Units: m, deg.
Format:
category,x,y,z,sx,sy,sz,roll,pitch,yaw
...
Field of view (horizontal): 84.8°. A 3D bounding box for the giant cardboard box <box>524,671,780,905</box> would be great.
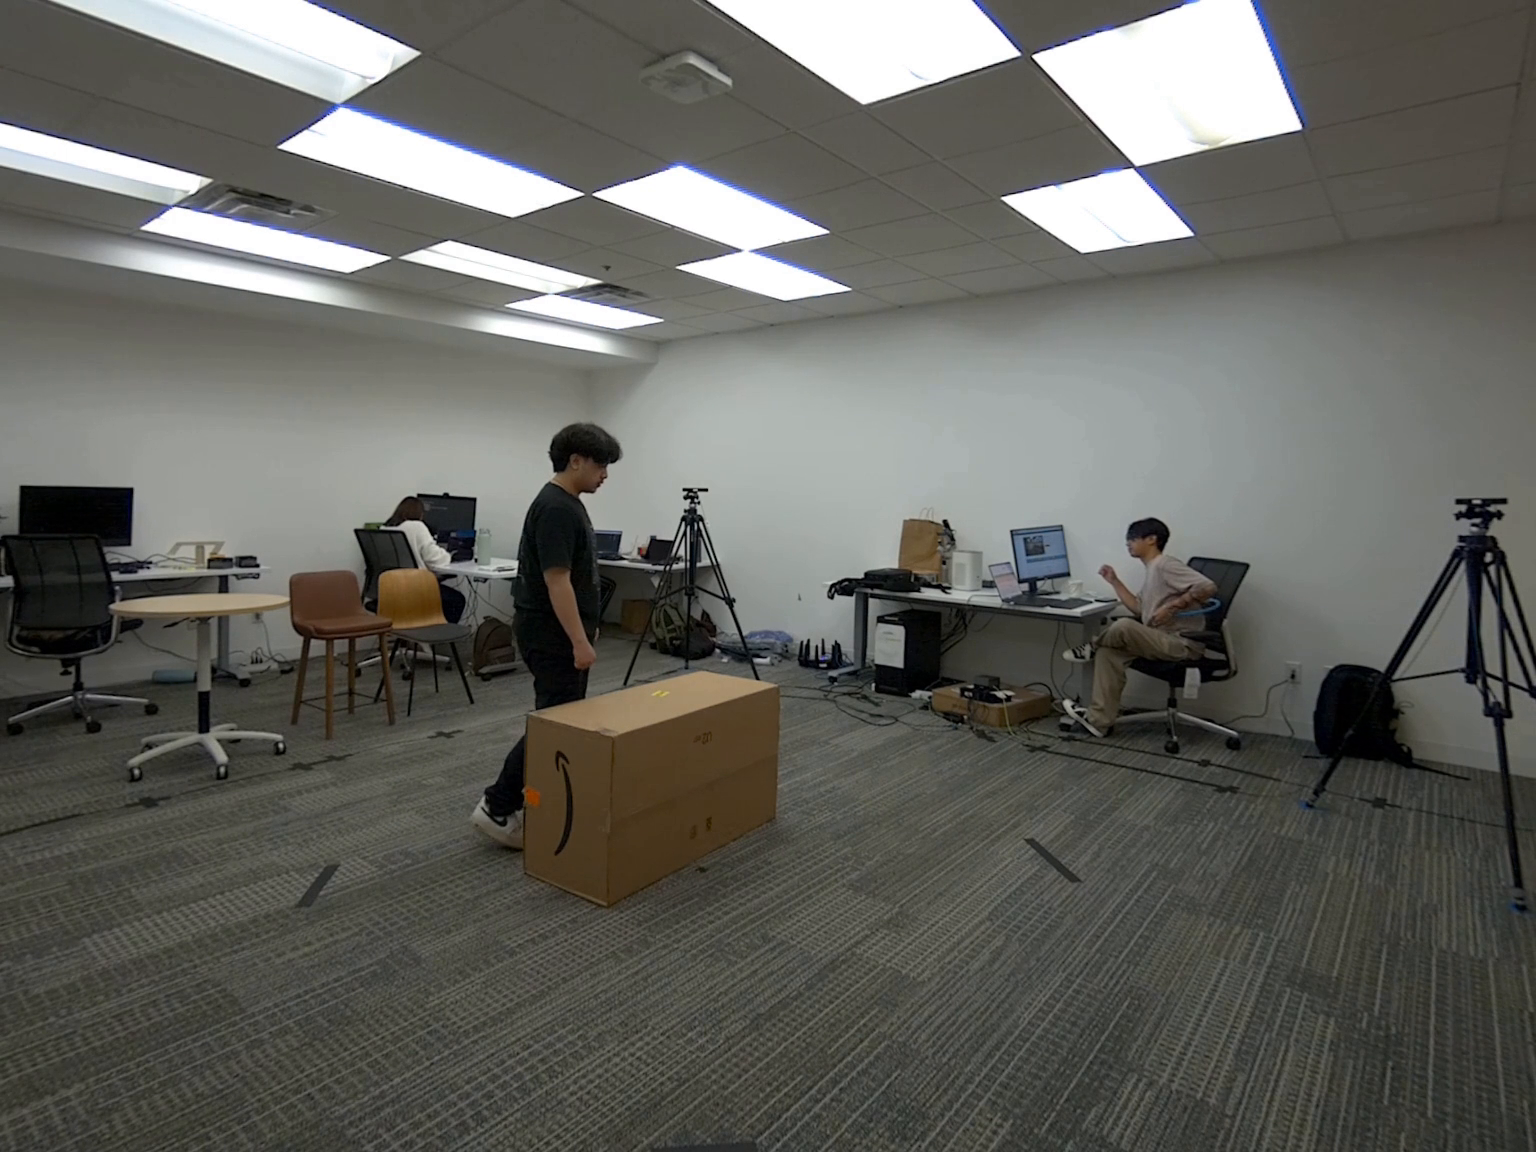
category,x,y,z,sx,sy,sz,roll,pitch,yaw
giant cardboard box,-0.422,0.761,3.318,0.461,0.582,0.998,3,4,34
